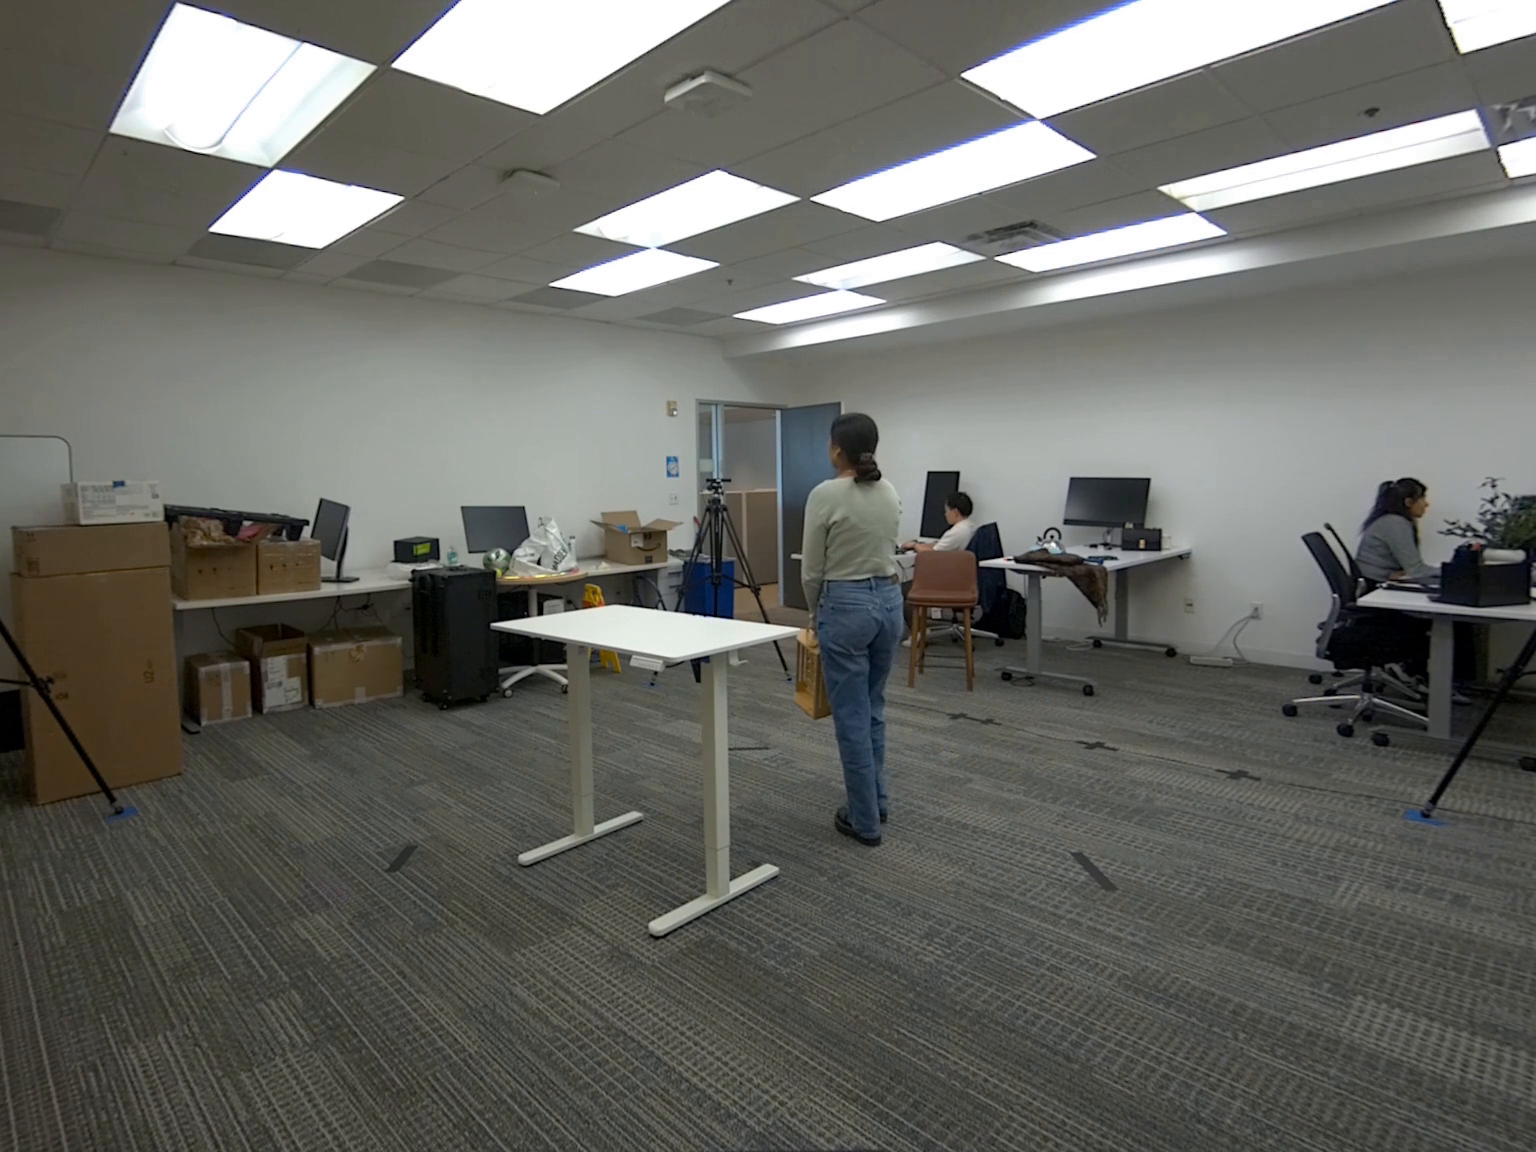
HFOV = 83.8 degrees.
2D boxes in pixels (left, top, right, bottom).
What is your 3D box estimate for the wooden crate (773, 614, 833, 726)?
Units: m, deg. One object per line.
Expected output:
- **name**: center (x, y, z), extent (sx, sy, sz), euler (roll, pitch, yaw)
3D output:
- **wooden crate**: center (0.223, 0.371, 3.565), extent (0.268, 0.318, 0.313), euler (-12, 25, -28)
